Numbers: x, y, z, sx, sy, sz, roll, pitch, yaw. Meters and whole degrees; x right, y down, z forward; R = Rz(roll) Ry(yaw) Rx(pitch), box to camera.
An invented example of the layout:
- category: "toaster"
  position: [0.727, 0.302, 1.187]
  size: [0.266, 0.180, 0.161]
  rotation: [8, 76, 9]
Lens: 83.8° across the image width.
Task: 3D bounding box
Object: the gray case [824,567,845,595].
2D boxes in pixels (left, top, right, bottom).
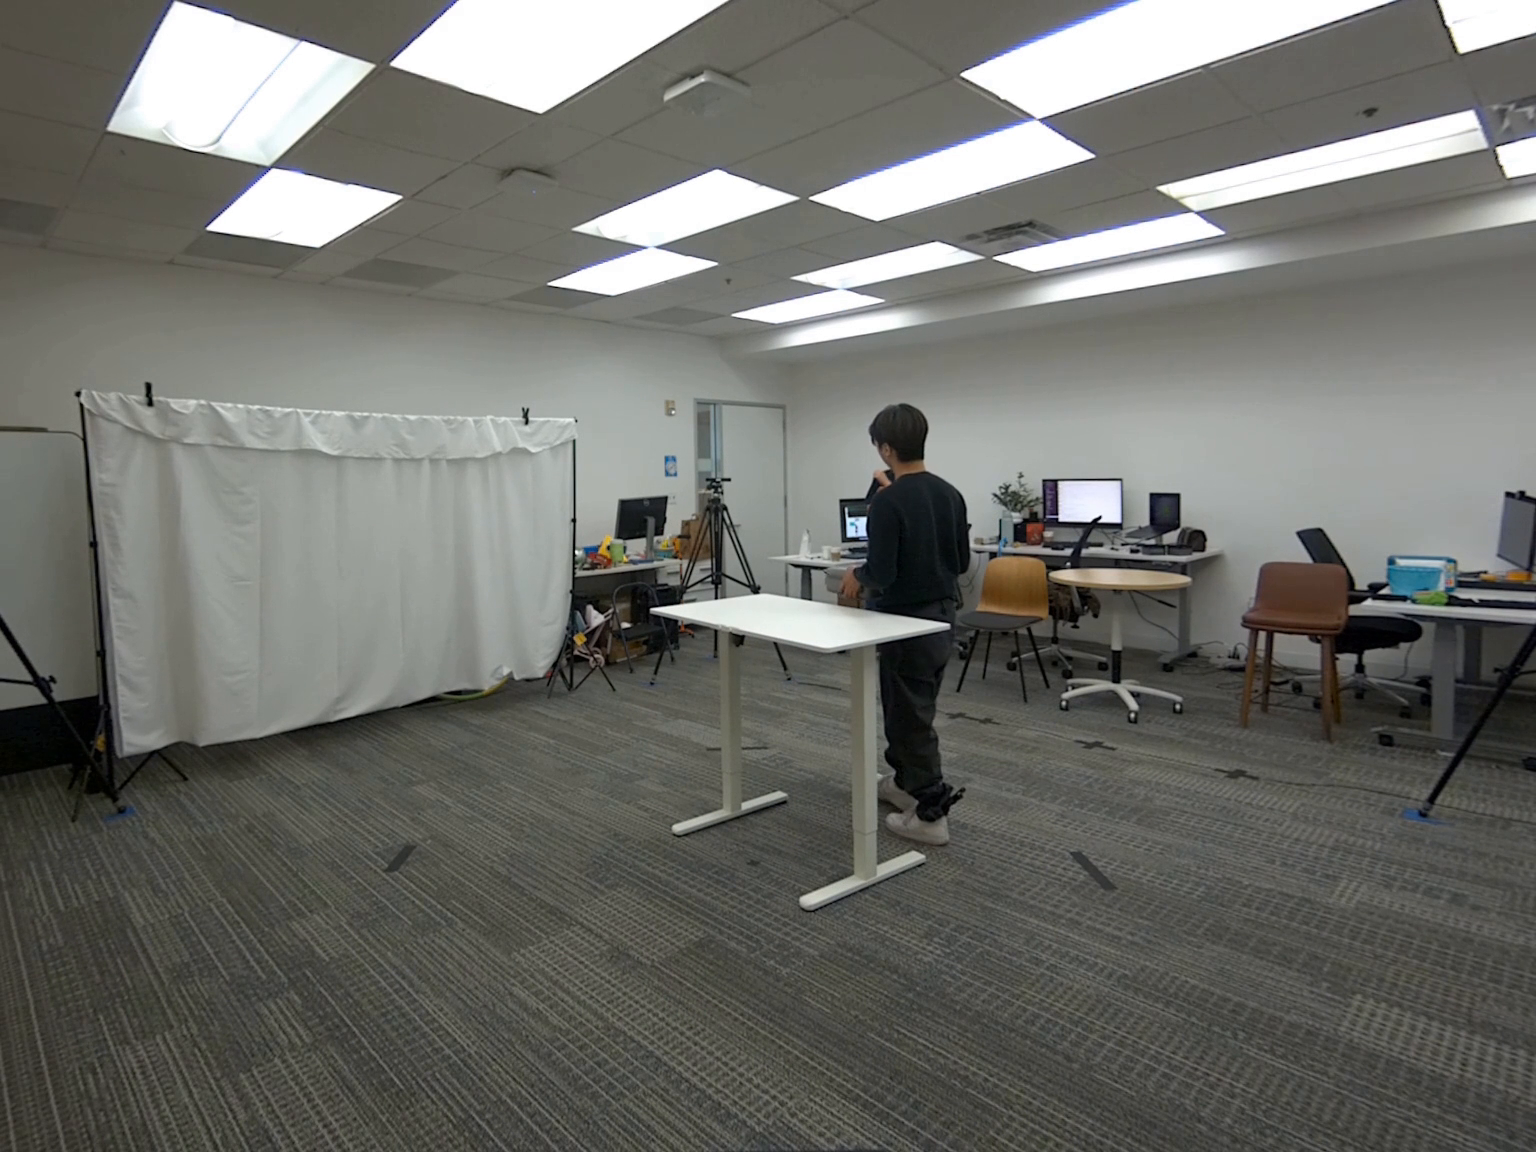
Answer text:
- category: "gray case"
  position: [0.425, 0.018, 3.537]
  size: [0.250, 0.104, 0.269]
  rotation: [-2, 6, -40]
